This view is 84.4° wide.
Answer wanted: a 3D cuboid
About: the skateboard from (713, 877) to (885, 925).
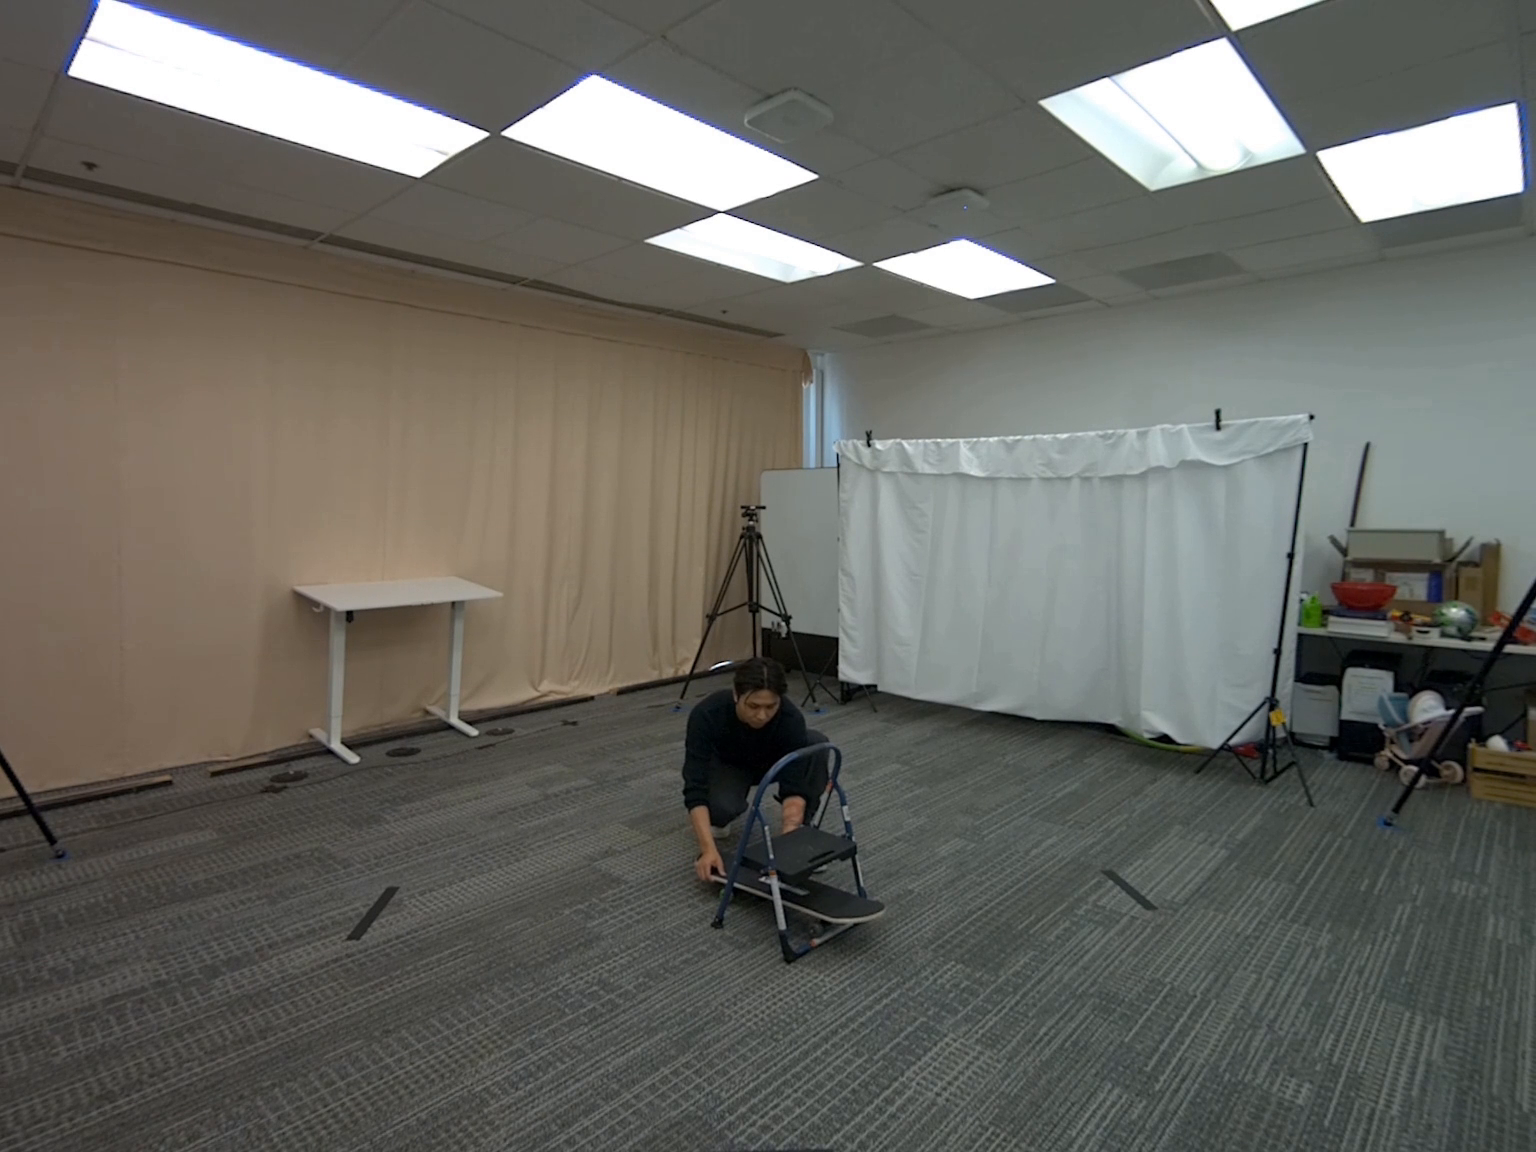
[{"bbox_3d":[0.056,1.079,2.869,0.811,0.110,0.187,0,3,43],"label":"skateboard"}]
